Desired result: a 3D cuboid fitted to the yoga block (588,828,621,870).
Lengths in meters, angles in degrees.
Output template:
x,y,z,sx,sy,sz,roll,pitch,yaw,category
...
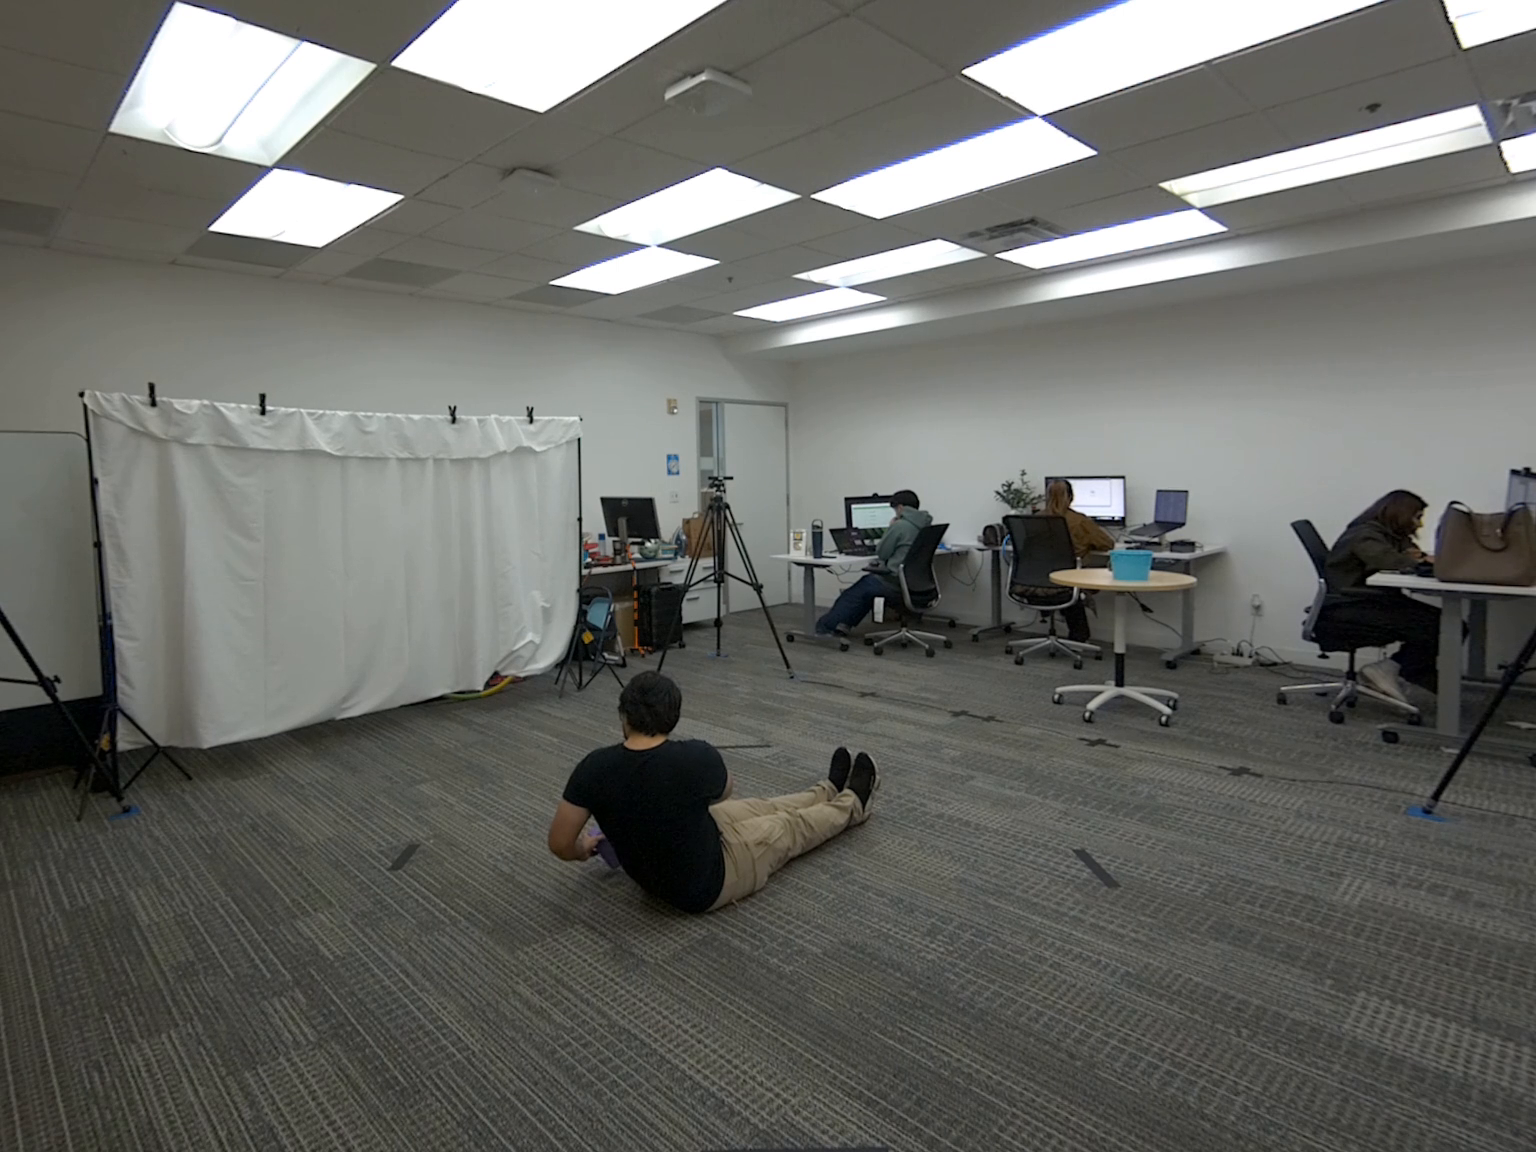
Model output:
x,y,z,sx,sy,sz,roll,pitch,yaw,category
-0.513,0.923,3.056,0.228,0.148,0.077,-29,6,-11,yoga block
